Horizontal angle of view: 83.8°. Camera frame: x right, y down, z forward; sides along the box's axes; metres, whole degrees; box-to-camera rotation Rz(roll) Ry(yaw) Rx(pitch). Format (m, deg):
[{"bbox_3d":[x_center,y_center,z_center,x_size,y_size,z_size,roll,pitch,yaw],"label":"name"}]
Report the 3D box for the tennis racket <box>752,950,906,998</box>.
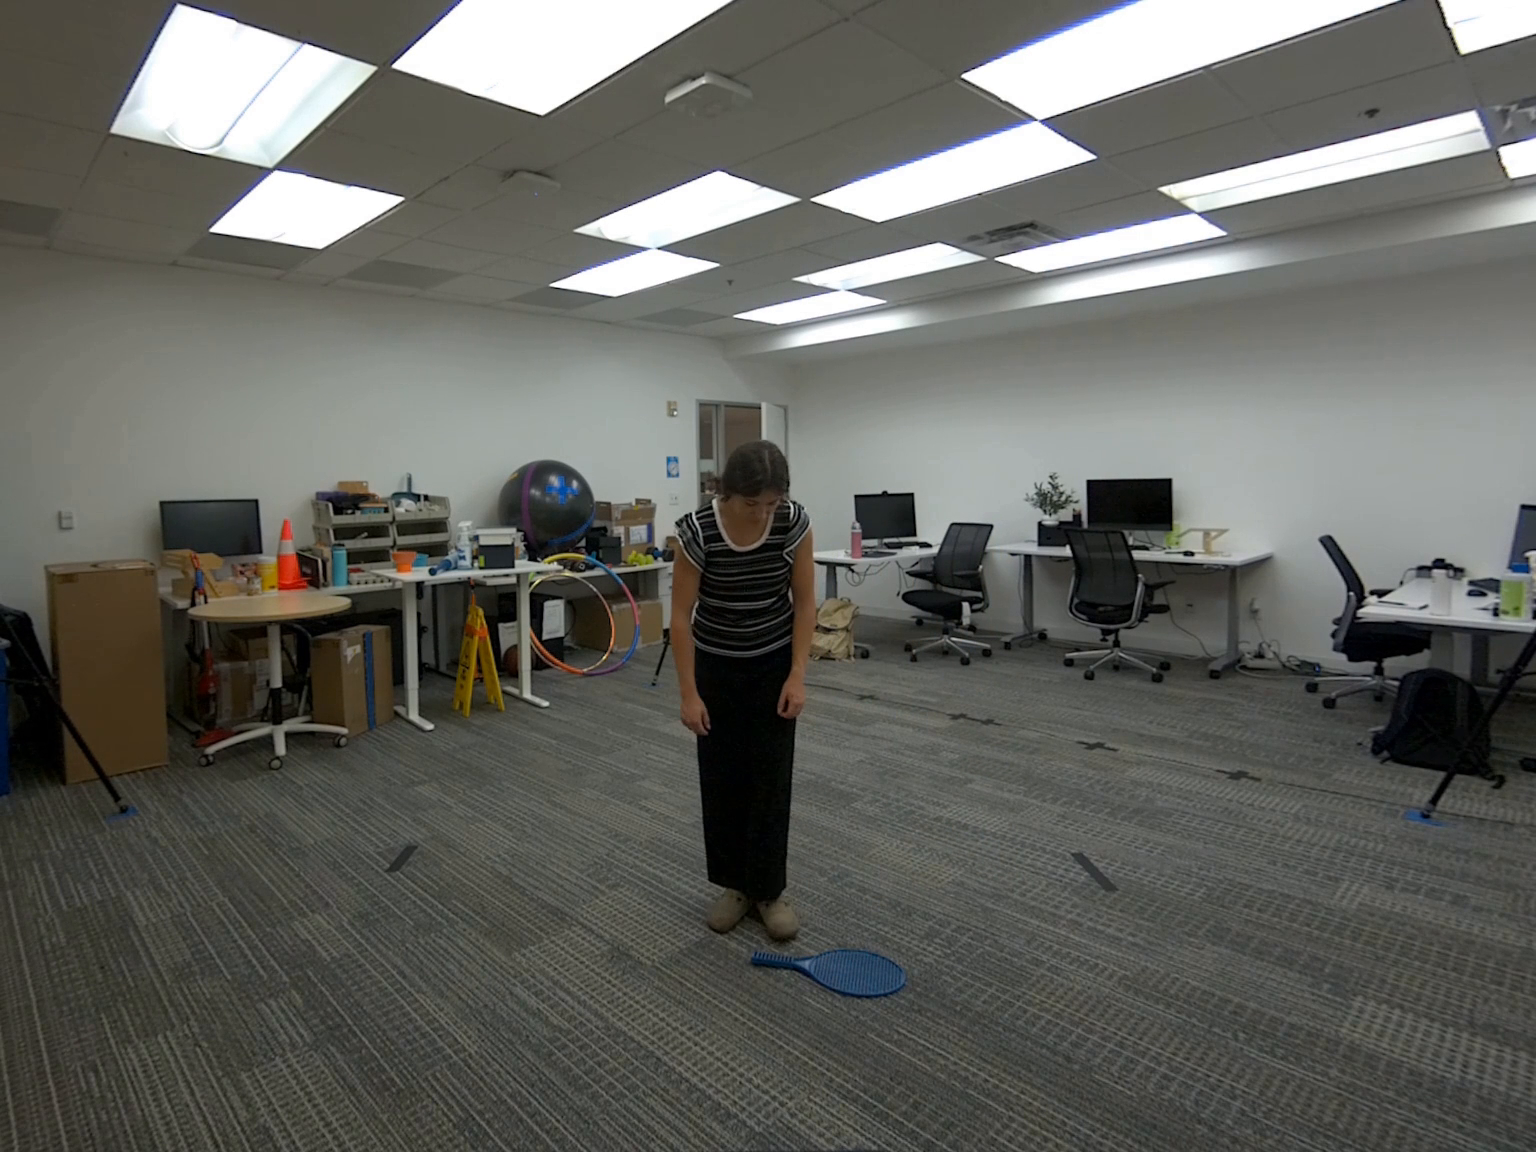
[{"bbox_3d":[0.169,1.106,2.423,0.437,0.031,0.212,1,6,10],"label":"tennis racket"}]
